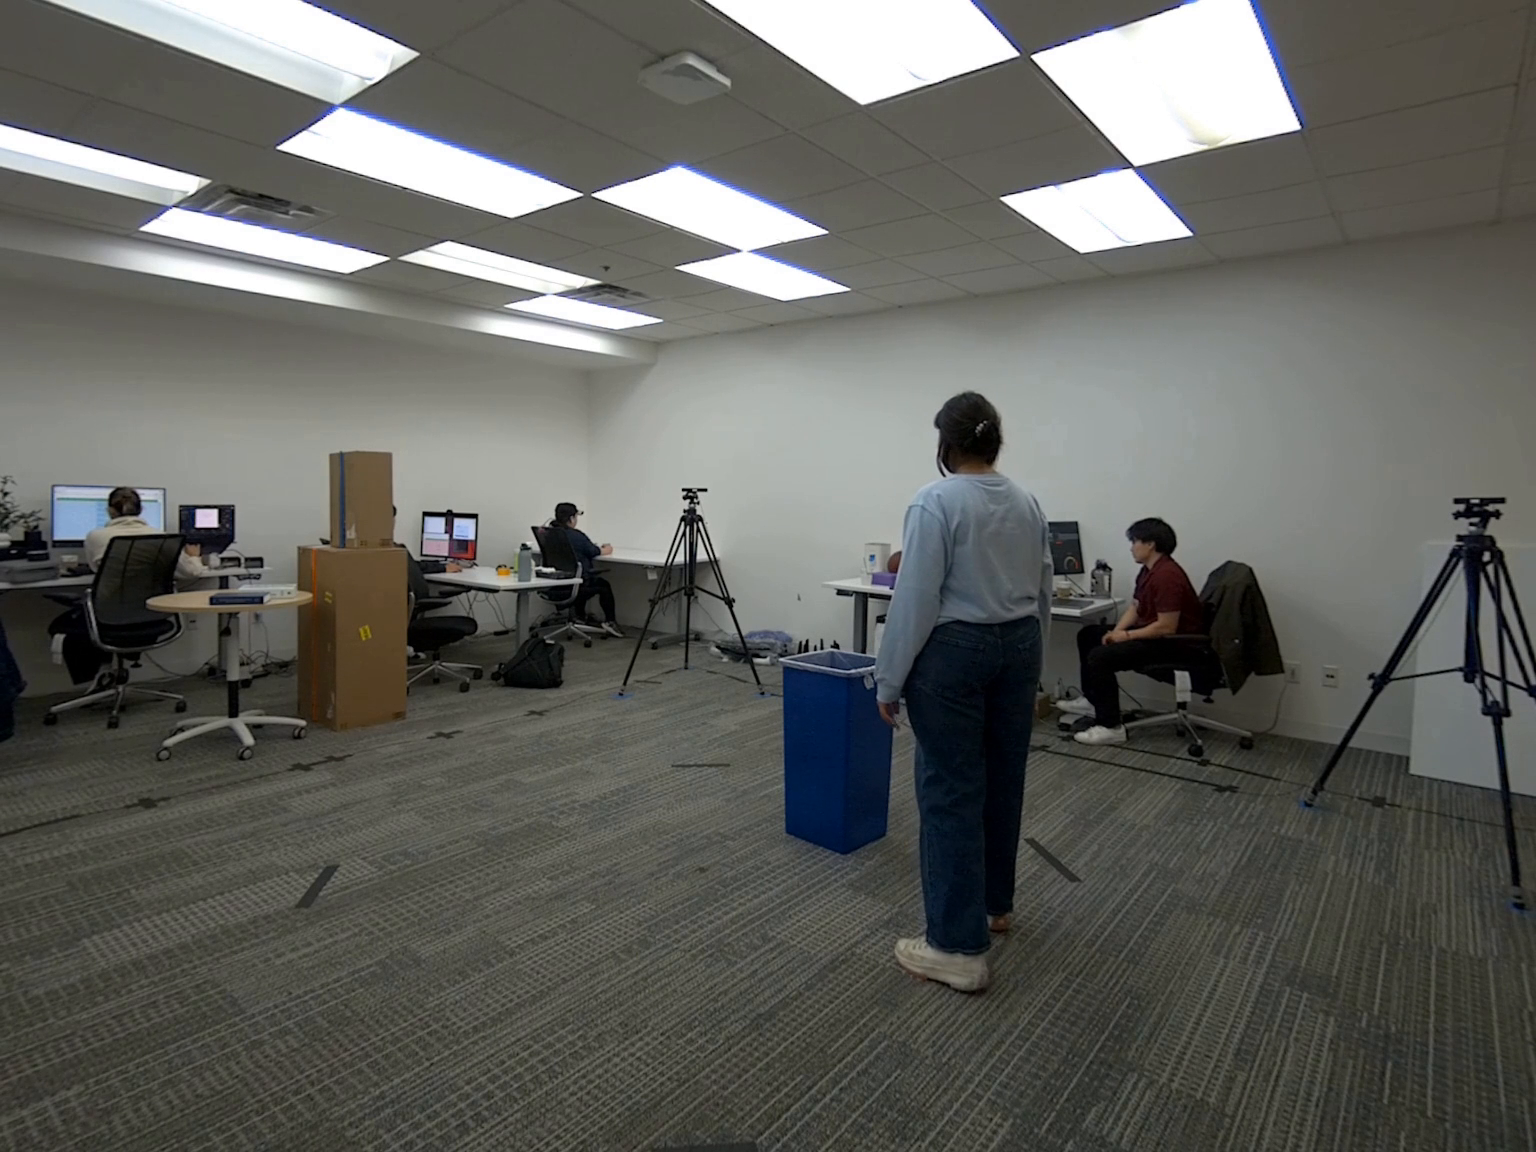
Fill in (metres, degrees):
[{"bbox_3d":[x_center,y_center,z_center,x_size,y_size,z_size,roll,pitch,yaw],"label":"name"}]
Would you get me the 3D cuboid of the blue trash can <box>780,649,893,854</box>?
[{"bbox_3d":[0.267,0.690,3.454,0.387,0.712,0.366,4,4,43],"label":"blue trash can"}]
